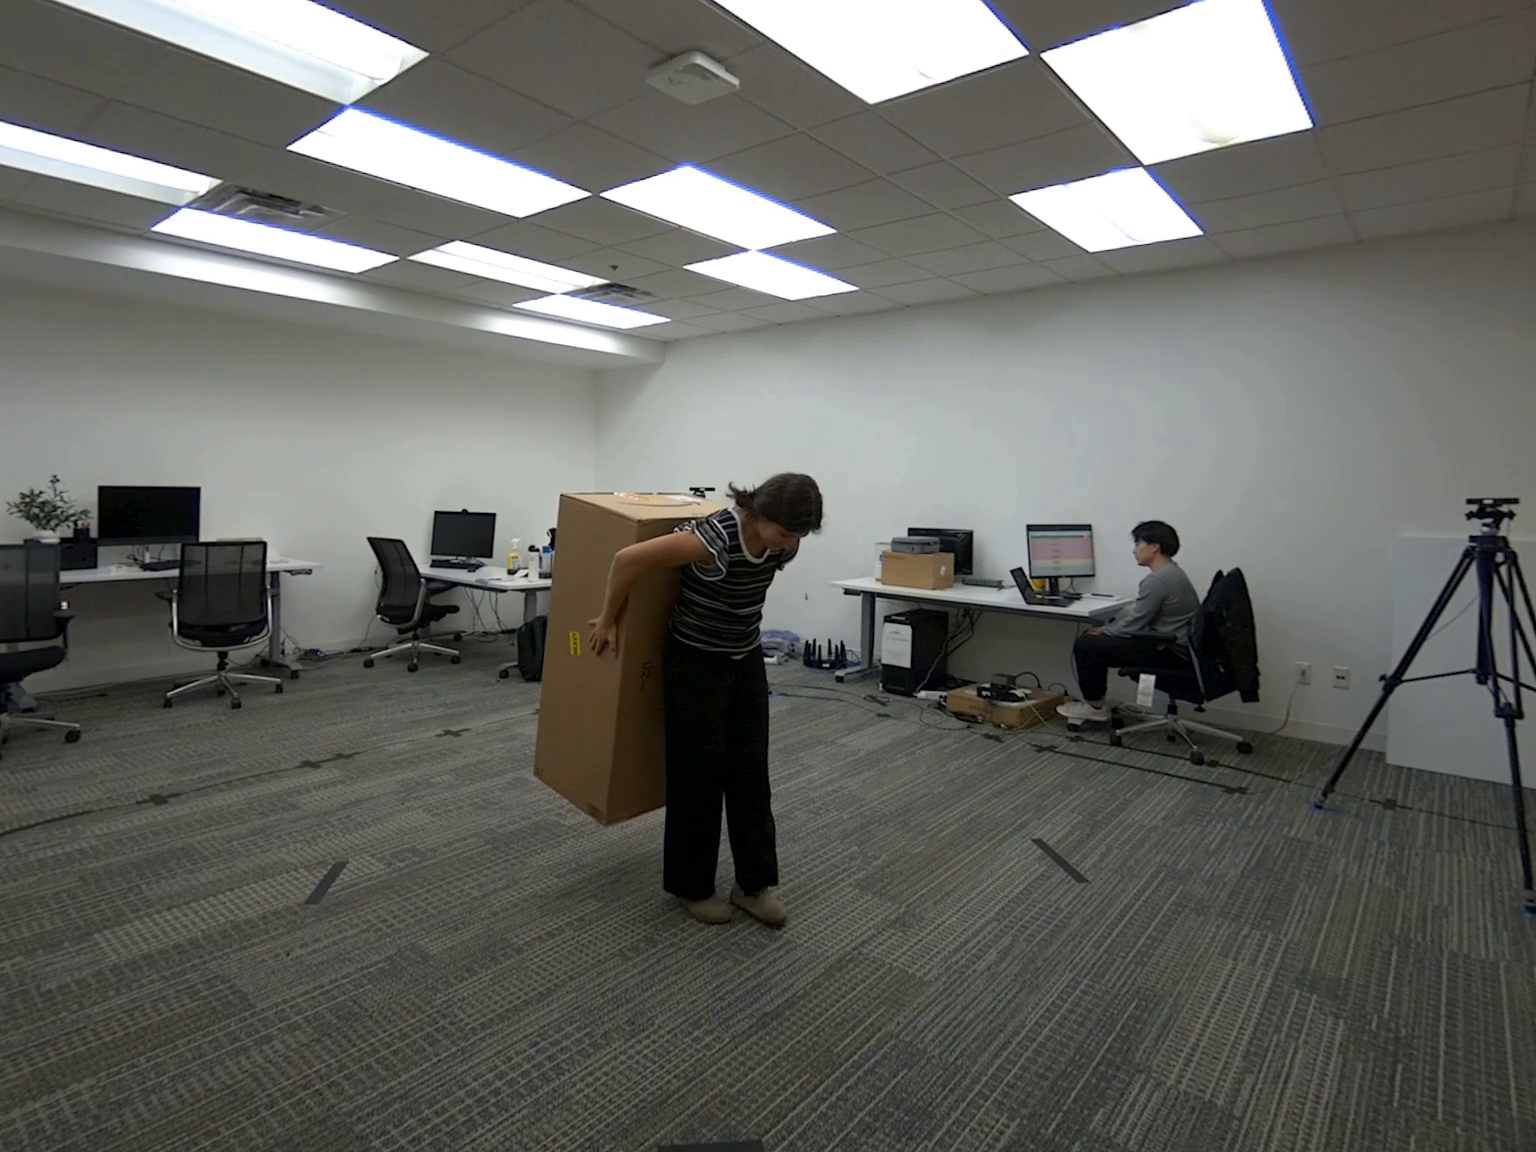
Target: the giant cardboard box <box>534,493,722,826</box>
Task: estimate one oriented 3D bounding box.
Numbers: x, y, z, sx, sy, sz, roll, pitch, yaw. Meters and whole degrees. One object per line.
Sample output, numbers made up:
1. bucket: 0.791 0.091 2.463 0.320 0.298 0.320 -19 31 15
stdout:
1. giant cardboard box: -0.442 0.251 3.007 0.443 1.017 0.560 17 14 41
